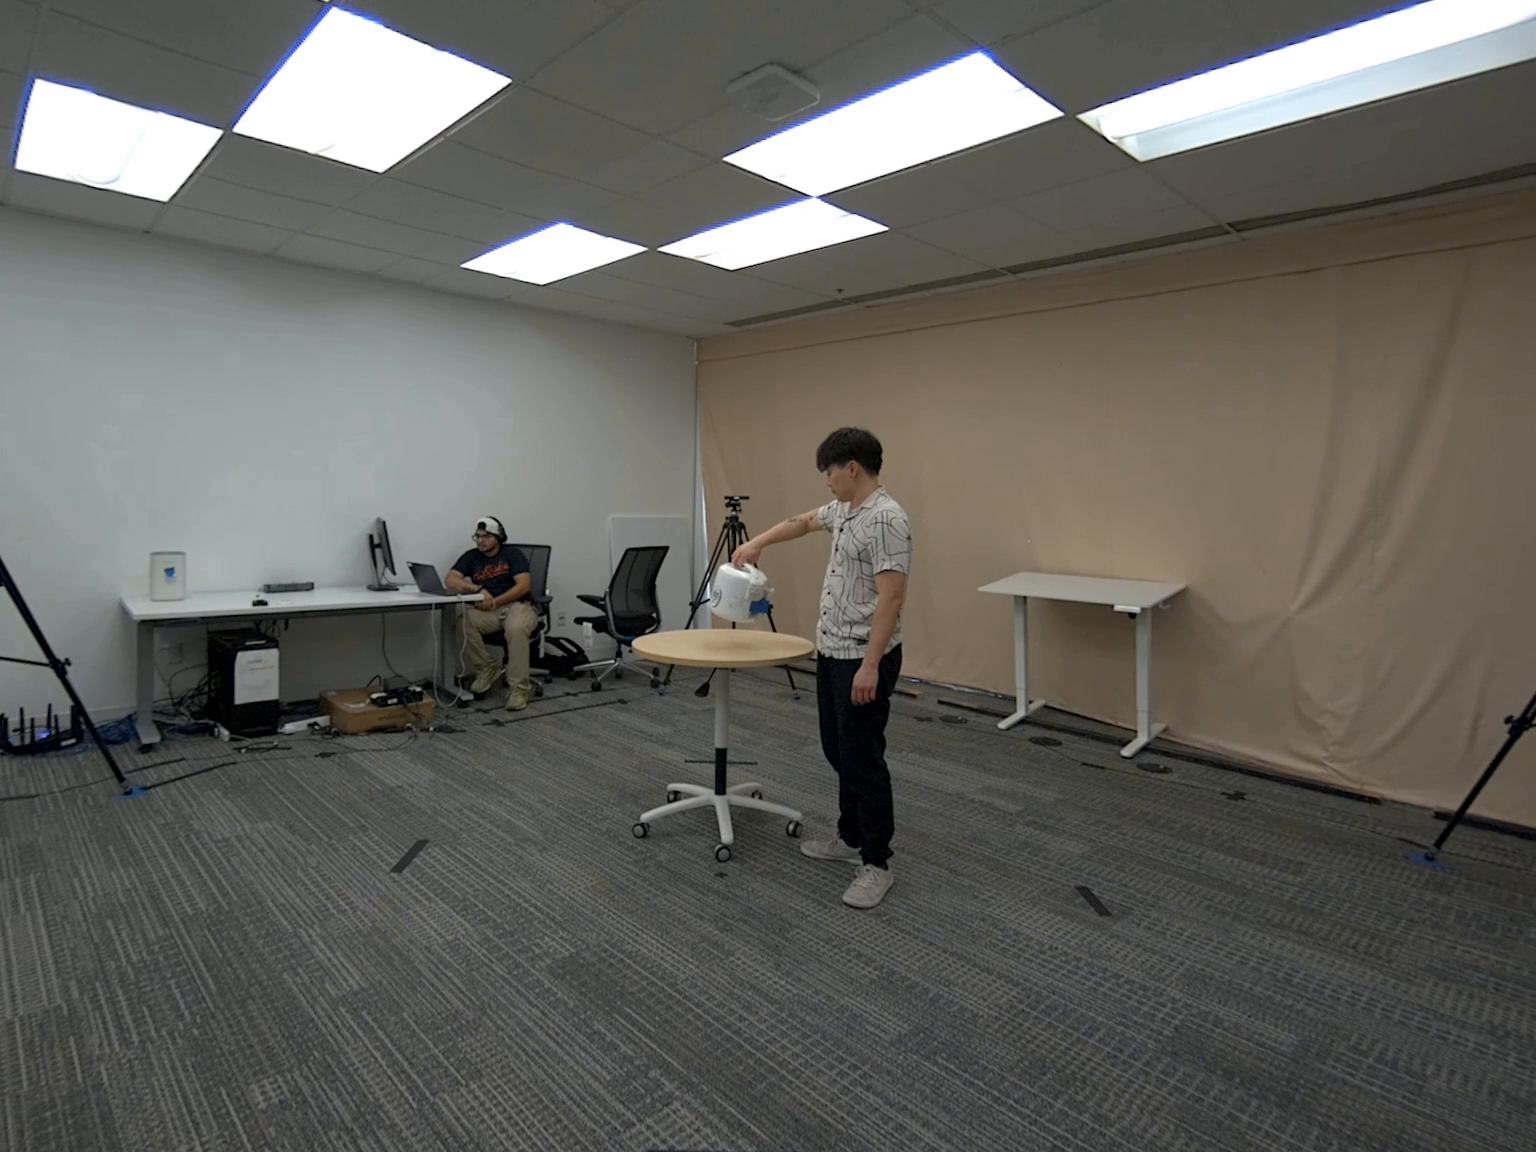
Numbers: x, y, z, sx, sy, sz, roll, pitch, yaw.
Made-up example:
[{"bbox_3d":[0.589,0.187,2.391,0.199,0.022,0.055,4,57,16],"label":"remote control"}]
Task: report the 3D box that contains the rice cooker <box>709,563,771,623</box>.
[{"bbox_3d":[-0.122,0.056,3.441,0.212,0.231,0.227,8,13,-36],"label":"rice cooker"}]
